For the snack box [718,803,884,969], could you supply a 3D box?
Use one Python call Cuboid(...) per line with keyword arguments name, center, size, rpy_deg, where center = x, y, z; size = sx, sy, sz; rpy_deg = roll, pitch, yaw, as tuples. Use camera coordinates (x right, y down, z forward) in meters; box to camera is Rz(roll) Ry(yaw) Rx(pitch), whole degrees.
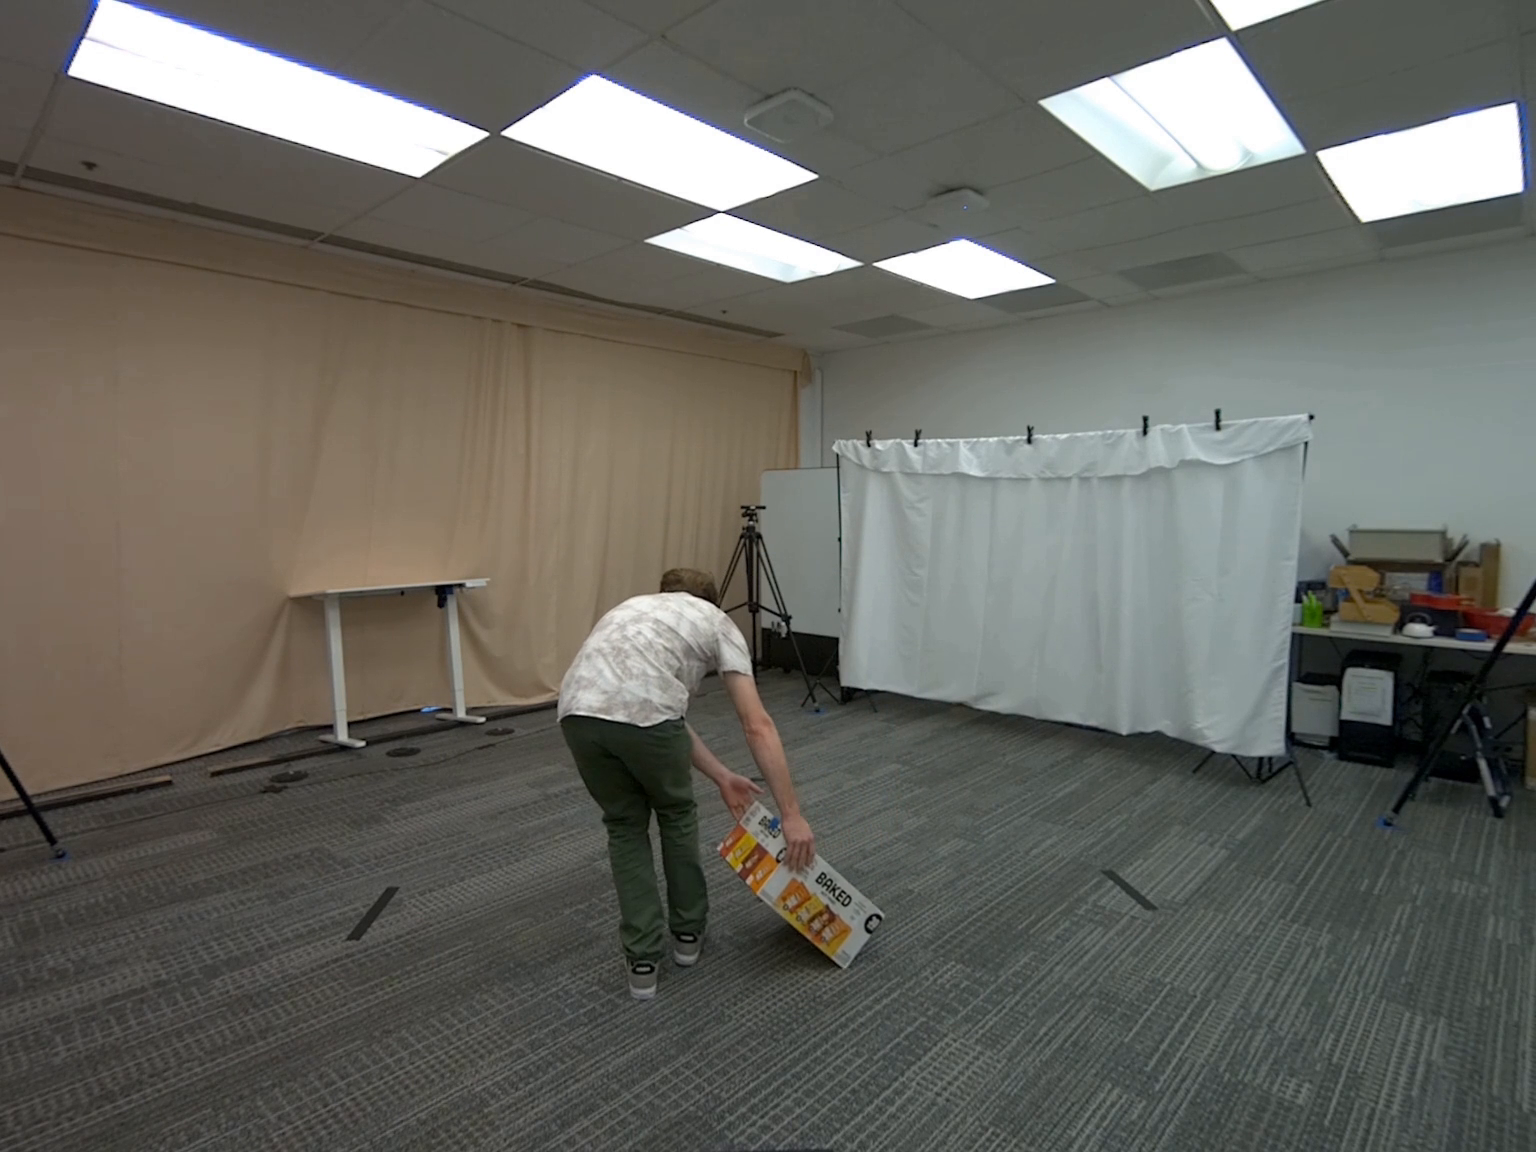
Cuboid(name="snack box", center=(0.097, 0.962, 2.647), size=(0.397, 0.205, 0.348), rpy_deg=(46, -12, -18))
